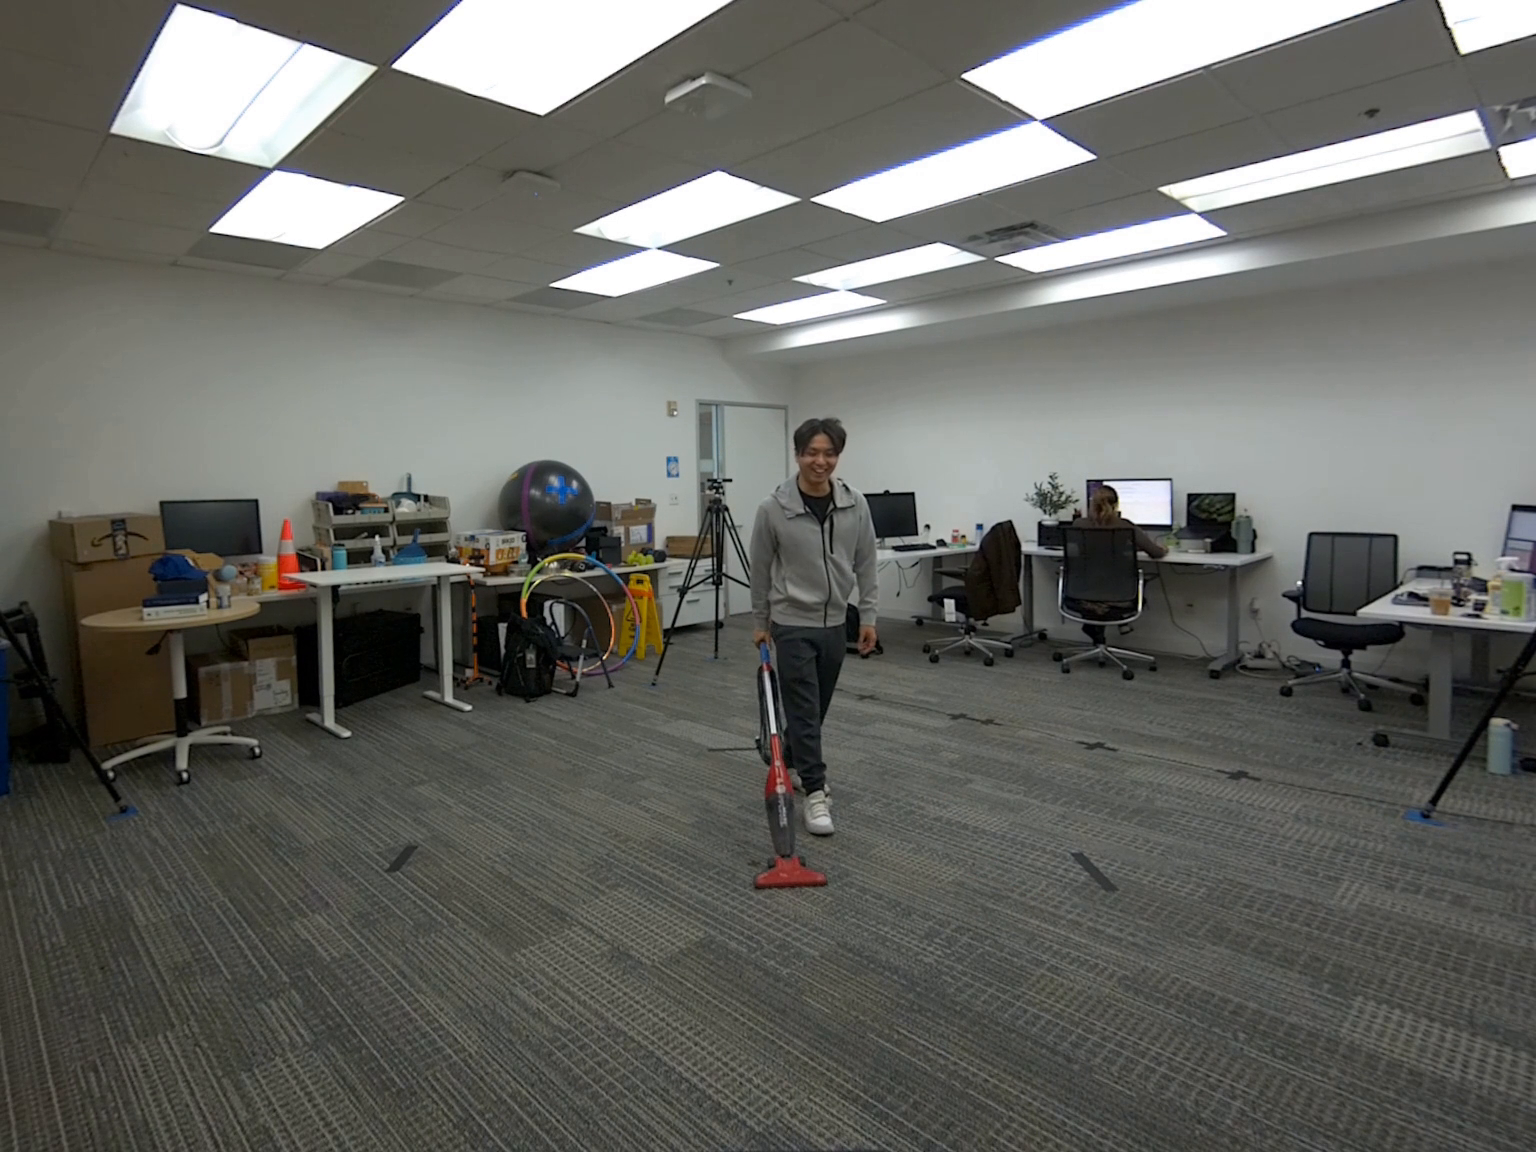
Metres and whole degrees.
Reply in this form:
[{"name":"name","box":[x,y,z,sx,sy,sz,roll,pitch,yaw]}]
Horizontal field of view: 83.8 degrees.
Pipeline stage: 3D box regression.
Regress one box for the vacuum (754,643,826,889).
[{"name":"vacuum","box":[0.016,0.653,3.347,0.252,0.140,1.082,-7,47,-2]}]
